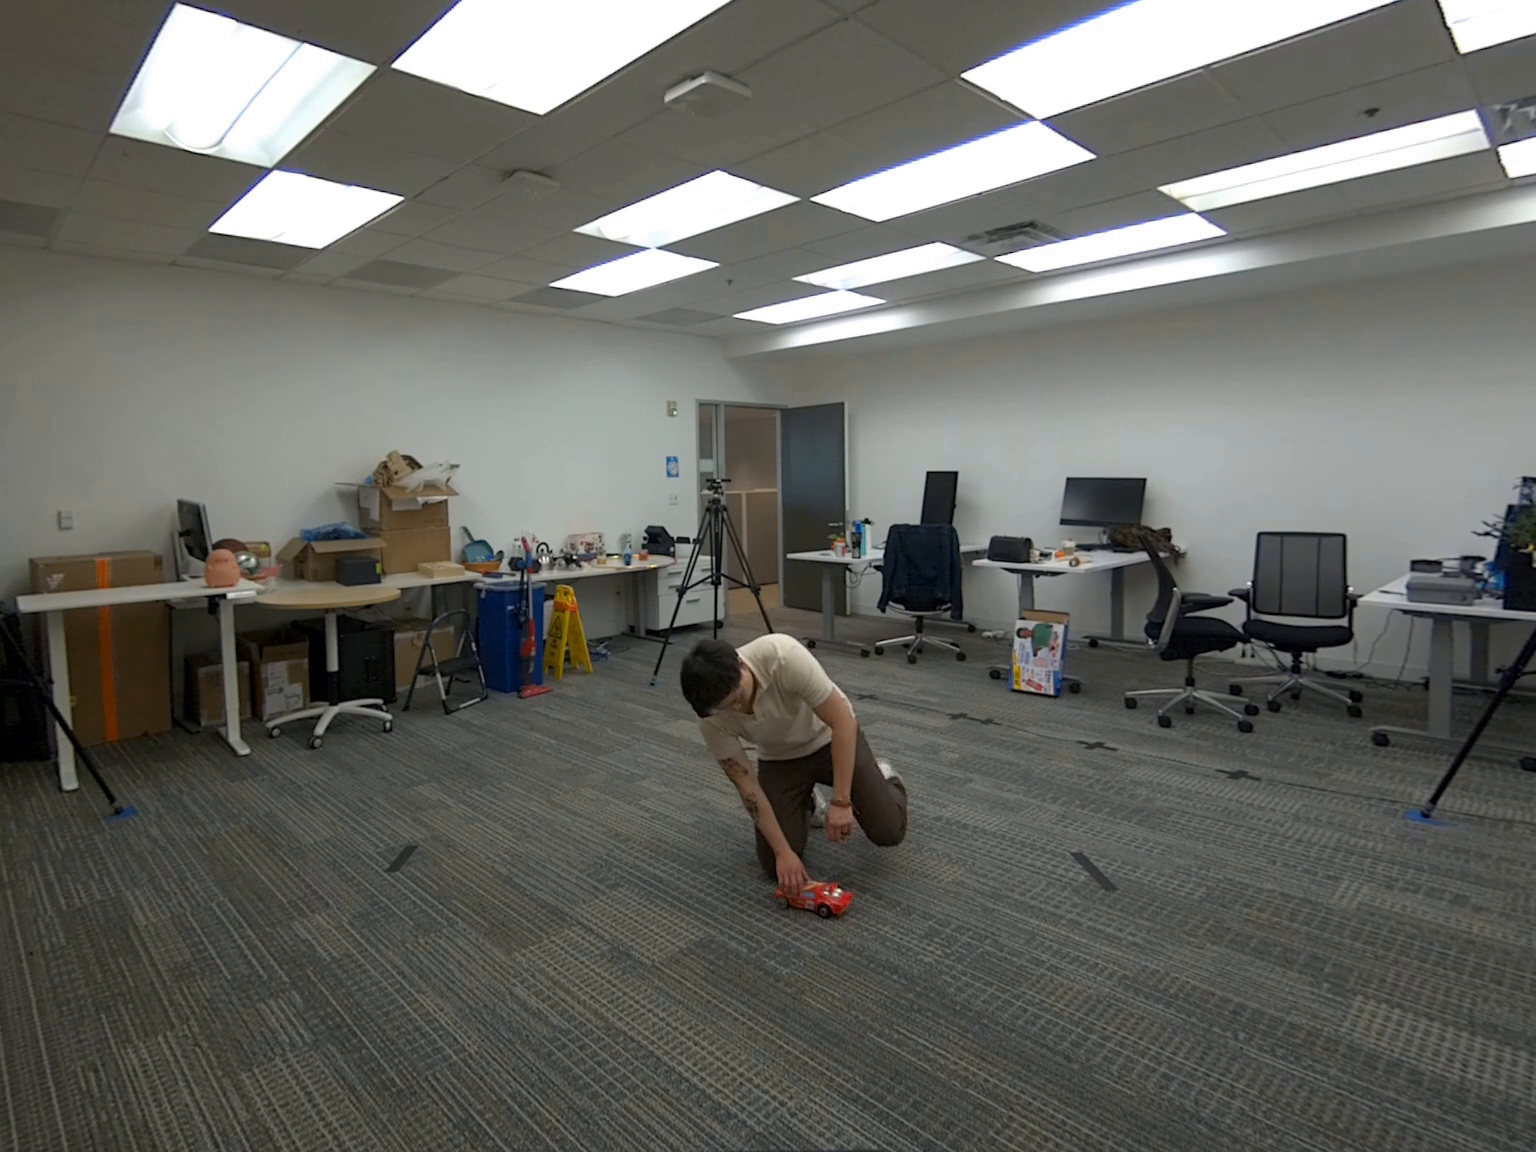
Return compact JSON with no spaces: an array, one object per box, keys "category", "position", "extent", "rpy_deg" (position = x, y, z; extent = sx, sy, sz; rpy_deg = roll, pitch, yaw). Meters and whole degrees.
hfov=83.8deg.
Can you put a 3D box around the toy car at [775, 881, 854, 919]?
[{"category":"toy car","position":[0.159,1.047,2.776],"extent":[0.259,0.083,0.128],"rpy_deg":[-12,1,26]}]
